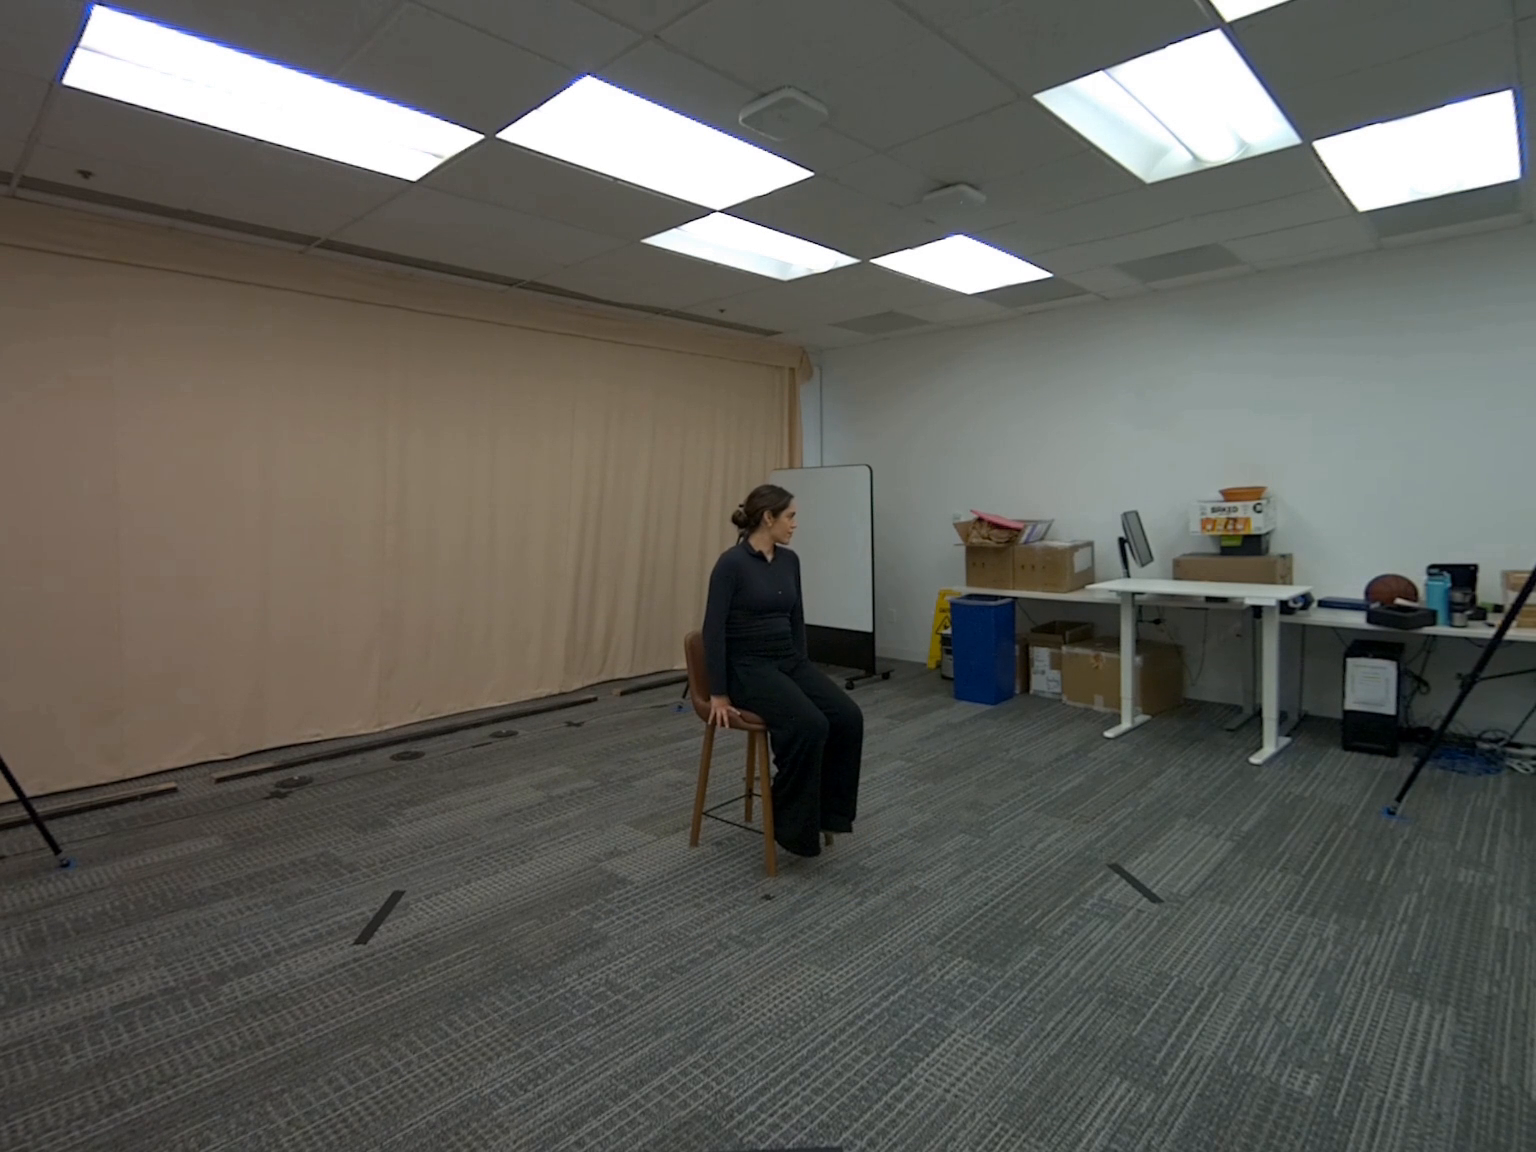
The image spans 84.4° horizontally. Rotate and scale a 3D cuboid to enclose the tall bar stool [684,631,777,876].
[{"bbox_3d":[-0.047,0.668,3.432,0.482,0.889,0.442,-1,2,41],"label":"tall bar stool"}]
